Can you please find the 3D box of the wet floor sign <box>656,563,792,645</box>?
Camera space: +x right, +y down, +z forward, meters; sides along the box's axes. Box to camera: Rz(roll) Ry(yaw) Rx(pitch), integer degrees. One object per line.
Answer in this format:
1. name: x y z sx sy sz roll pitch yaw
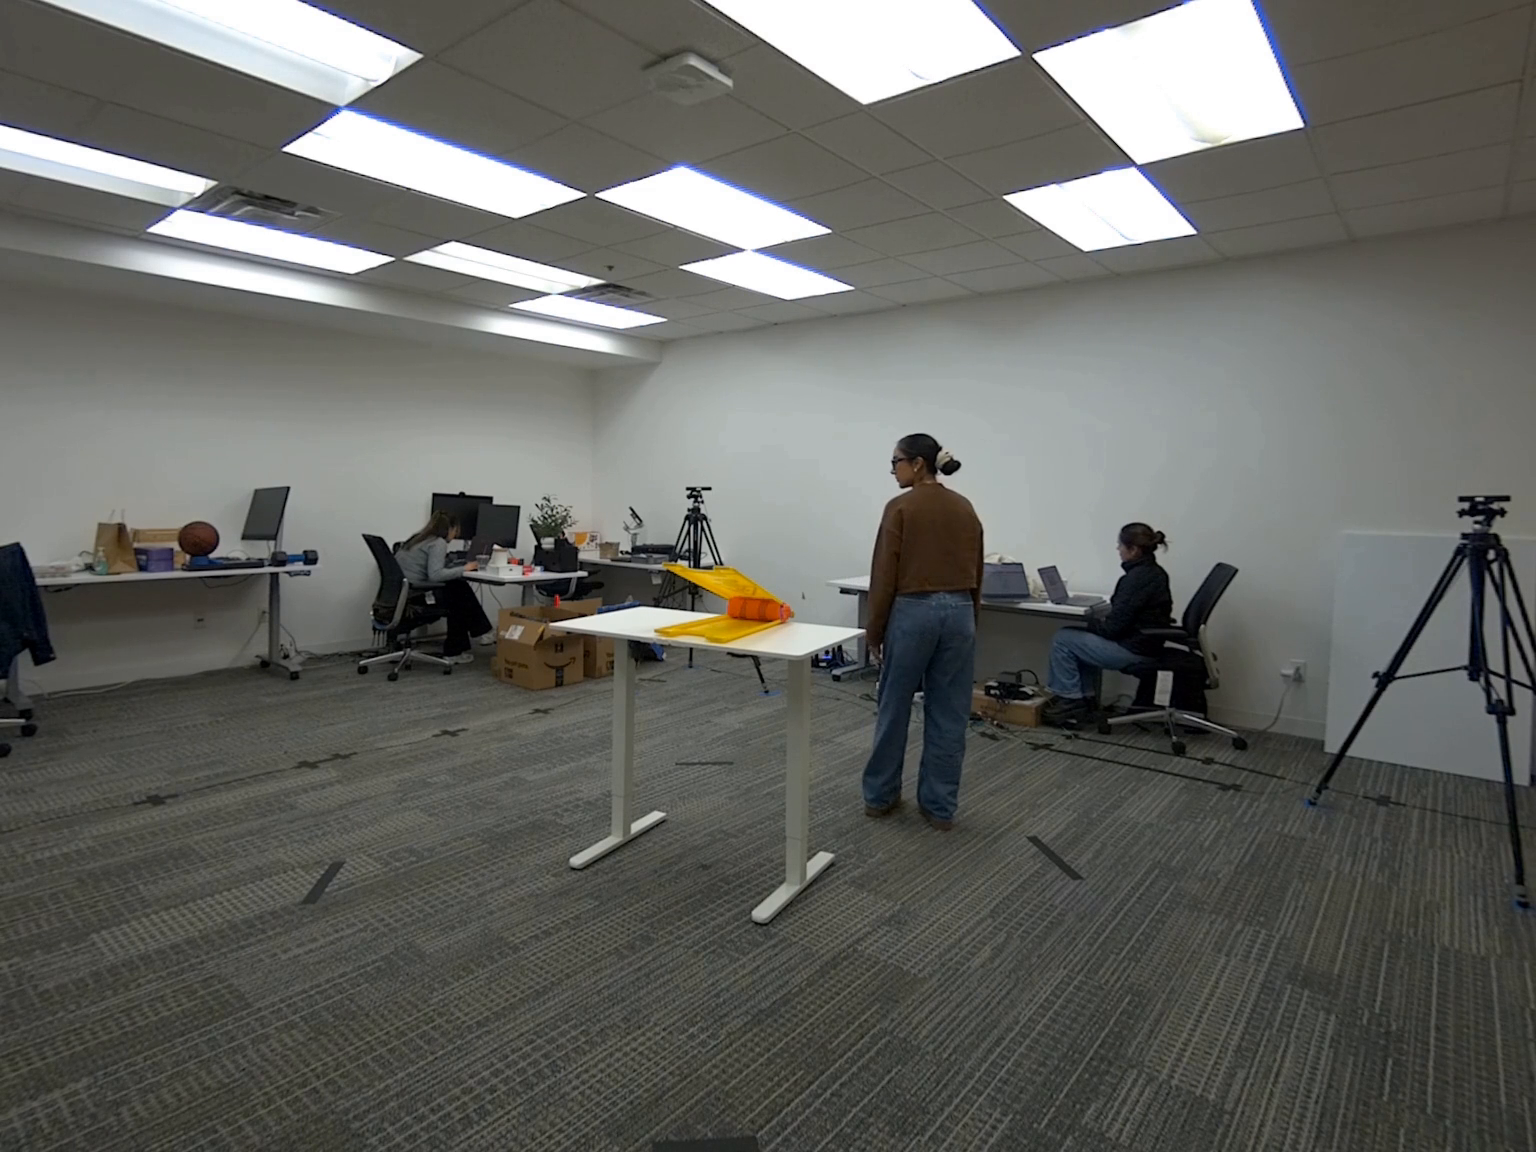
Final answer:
1. wet floor sign: -0.128 0.115 3.132 0.290 0.291 0.626 3 -3 27
